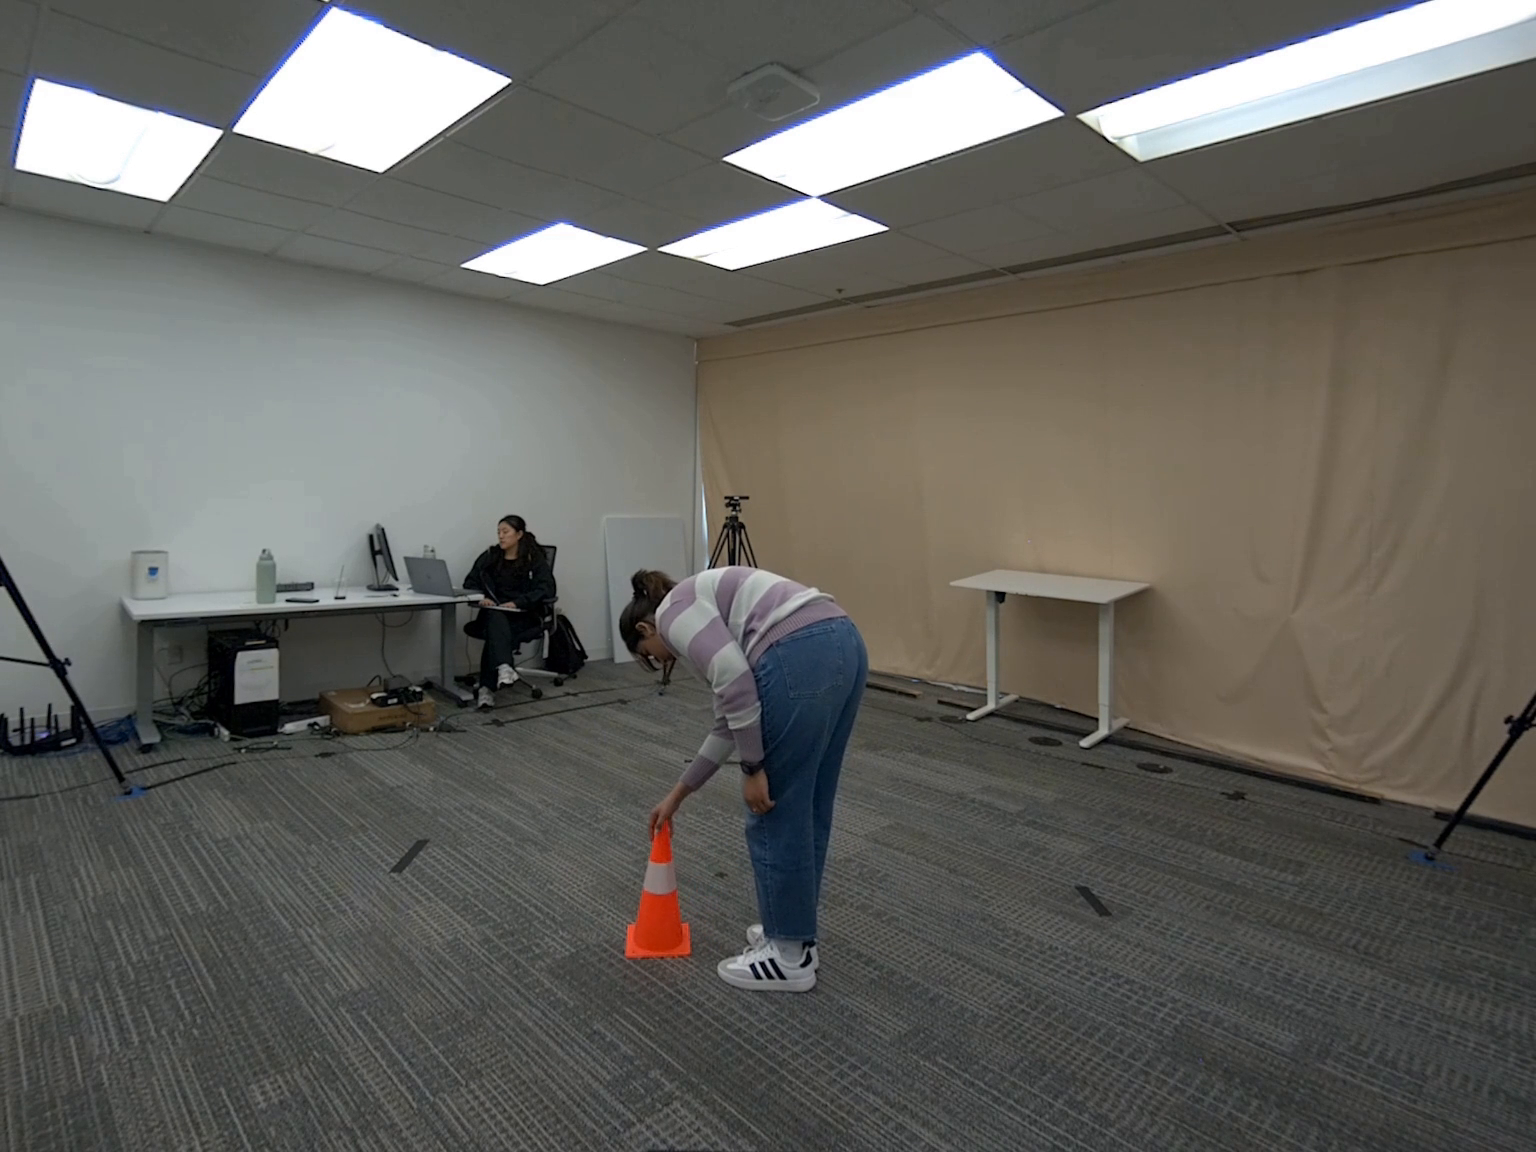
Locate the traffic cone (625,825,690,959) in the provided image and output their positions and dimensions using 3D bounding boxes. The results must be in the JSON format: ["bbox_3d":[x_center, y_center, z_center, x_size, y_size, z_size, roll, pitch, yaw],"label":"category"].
[{"bbox_3d":[-0.339,0.952,2.631,0.204,0.384,0.204,0,0,-7],"label":"traffic cone"}]
